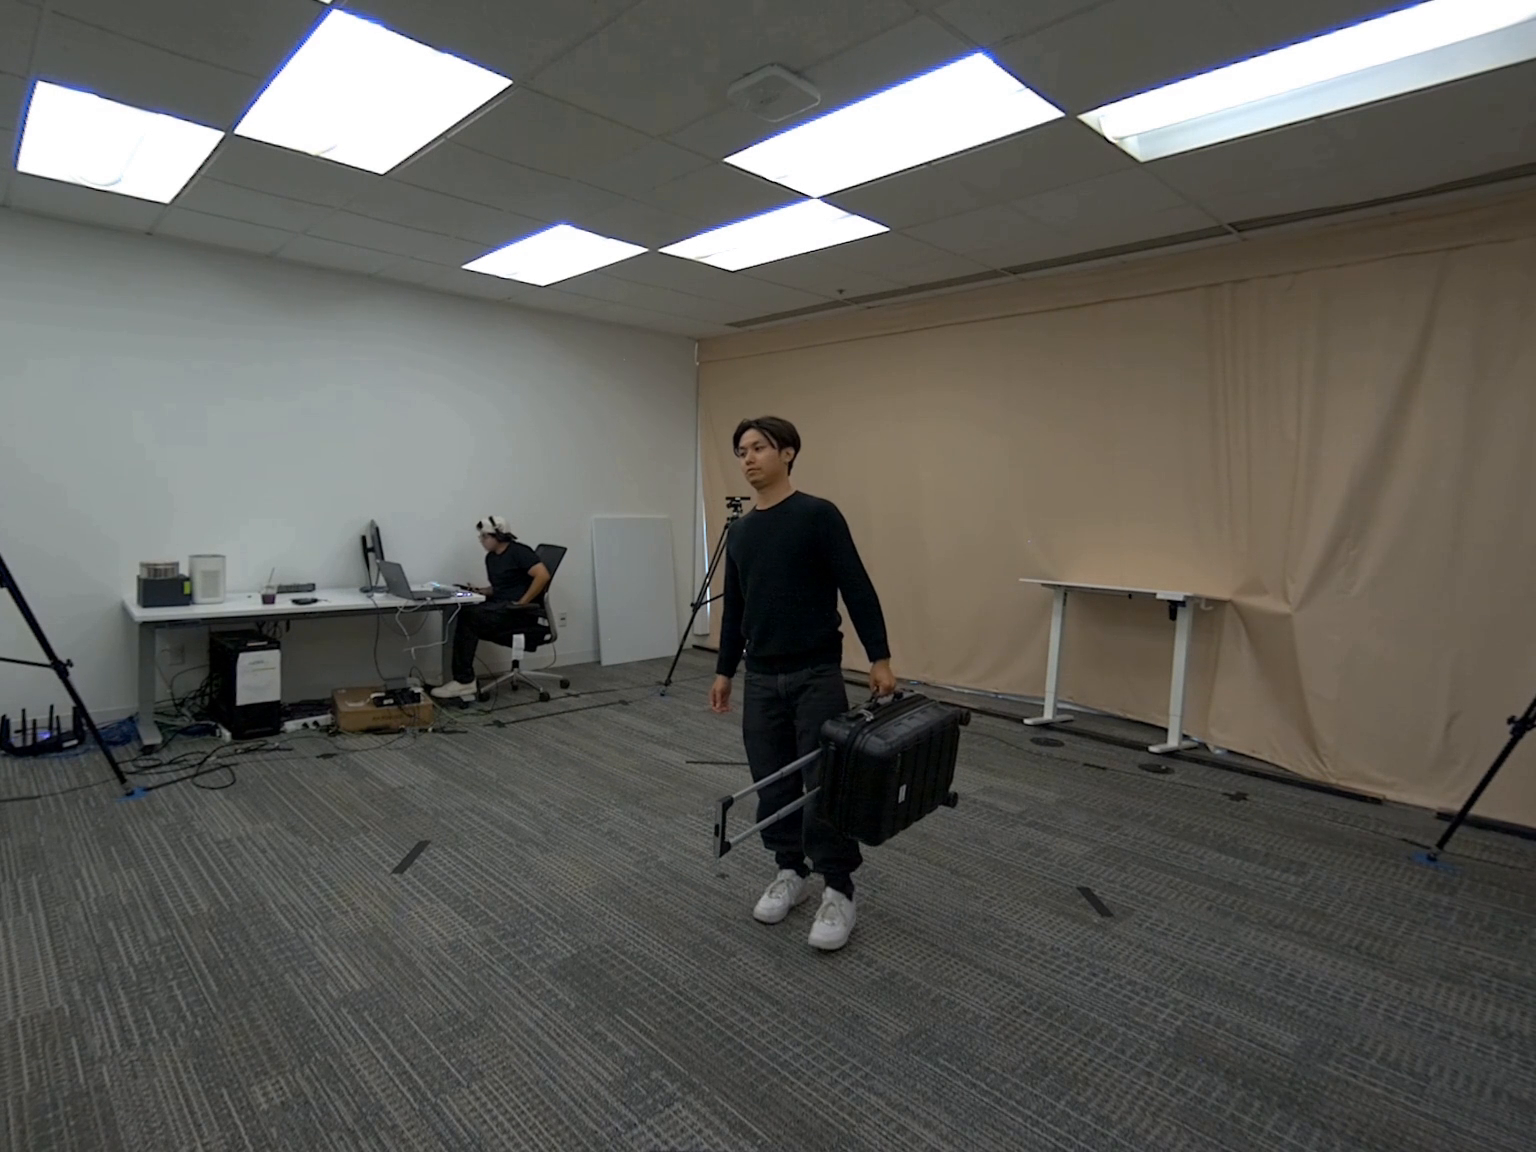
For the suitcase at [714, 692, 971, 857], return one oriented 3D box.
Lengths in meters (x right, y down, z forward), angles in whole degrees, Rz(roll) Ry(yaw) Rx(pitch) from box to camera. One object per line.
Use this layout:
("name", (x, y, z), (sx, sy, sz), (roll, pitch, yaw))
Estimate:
("suitcase", (0.268, 0.621, 2.503), (0.264, 0.381, 0.960), (14, 16, 35))
